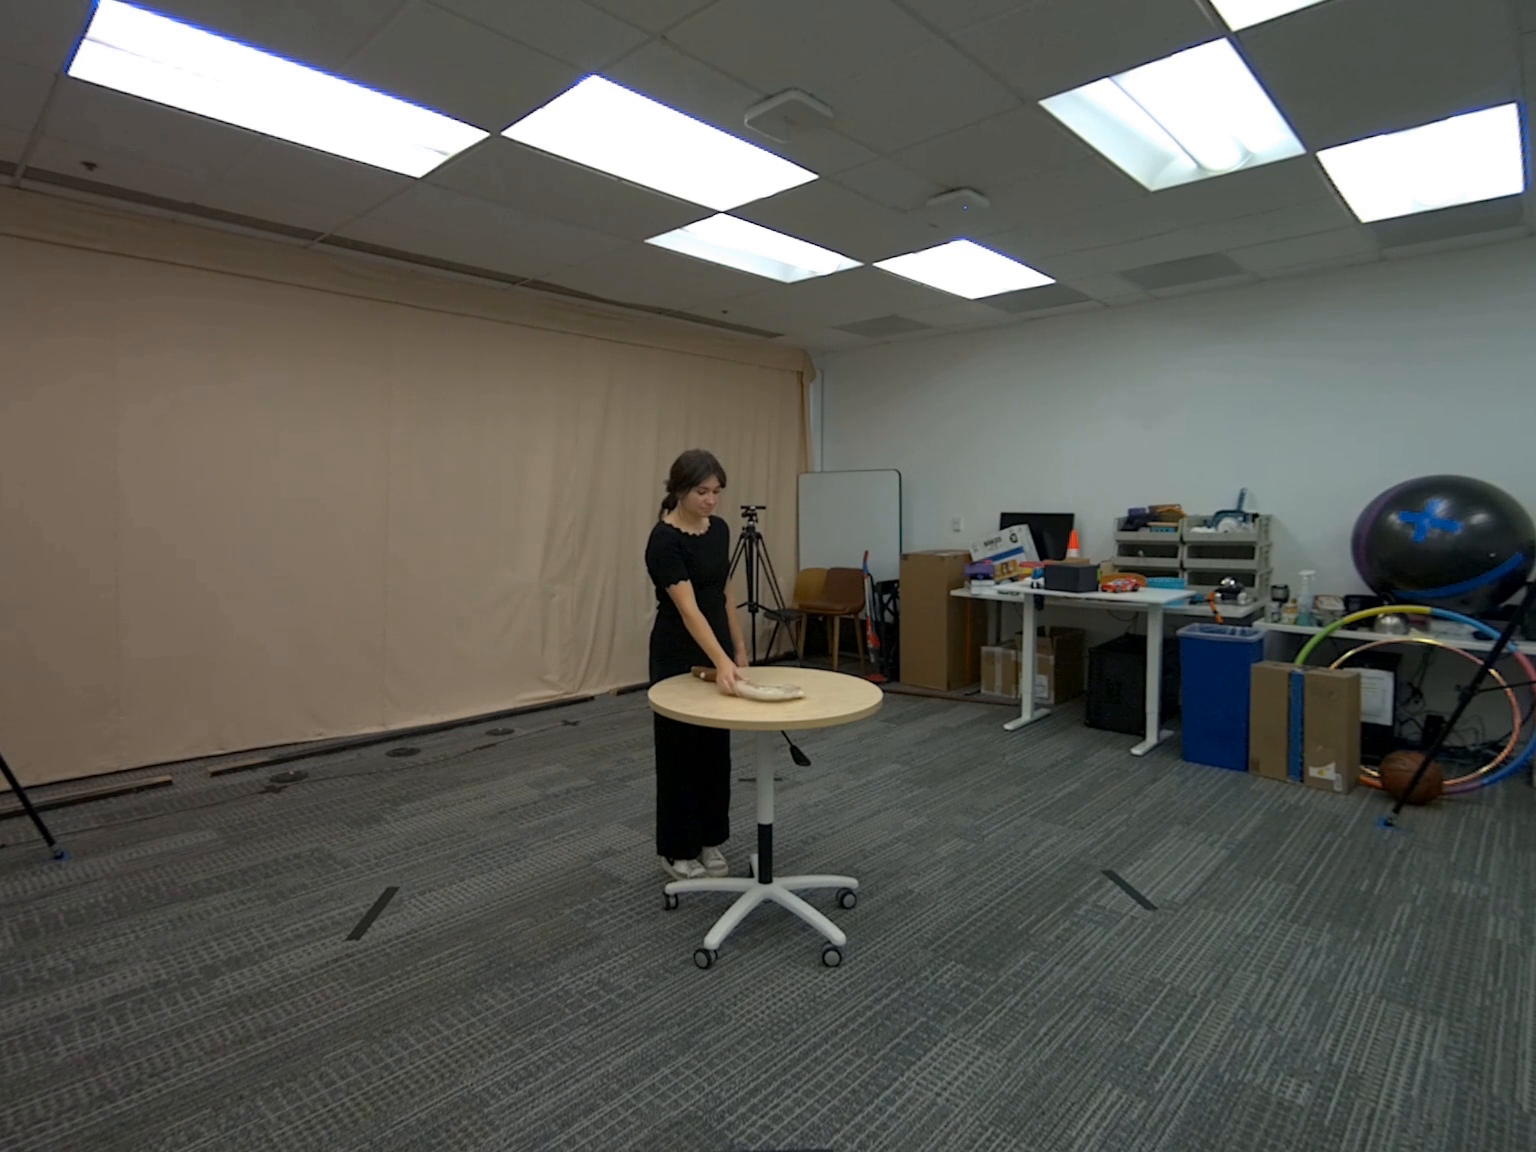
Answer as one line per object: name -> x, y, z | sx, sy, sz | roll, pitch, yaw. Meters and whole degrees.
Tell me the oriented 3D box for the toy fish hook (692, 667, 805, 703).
toy fish hook -> -0.061, 0.359, 2.824 | 0.217, 0.048, 0.522 | 7, 0, -35
